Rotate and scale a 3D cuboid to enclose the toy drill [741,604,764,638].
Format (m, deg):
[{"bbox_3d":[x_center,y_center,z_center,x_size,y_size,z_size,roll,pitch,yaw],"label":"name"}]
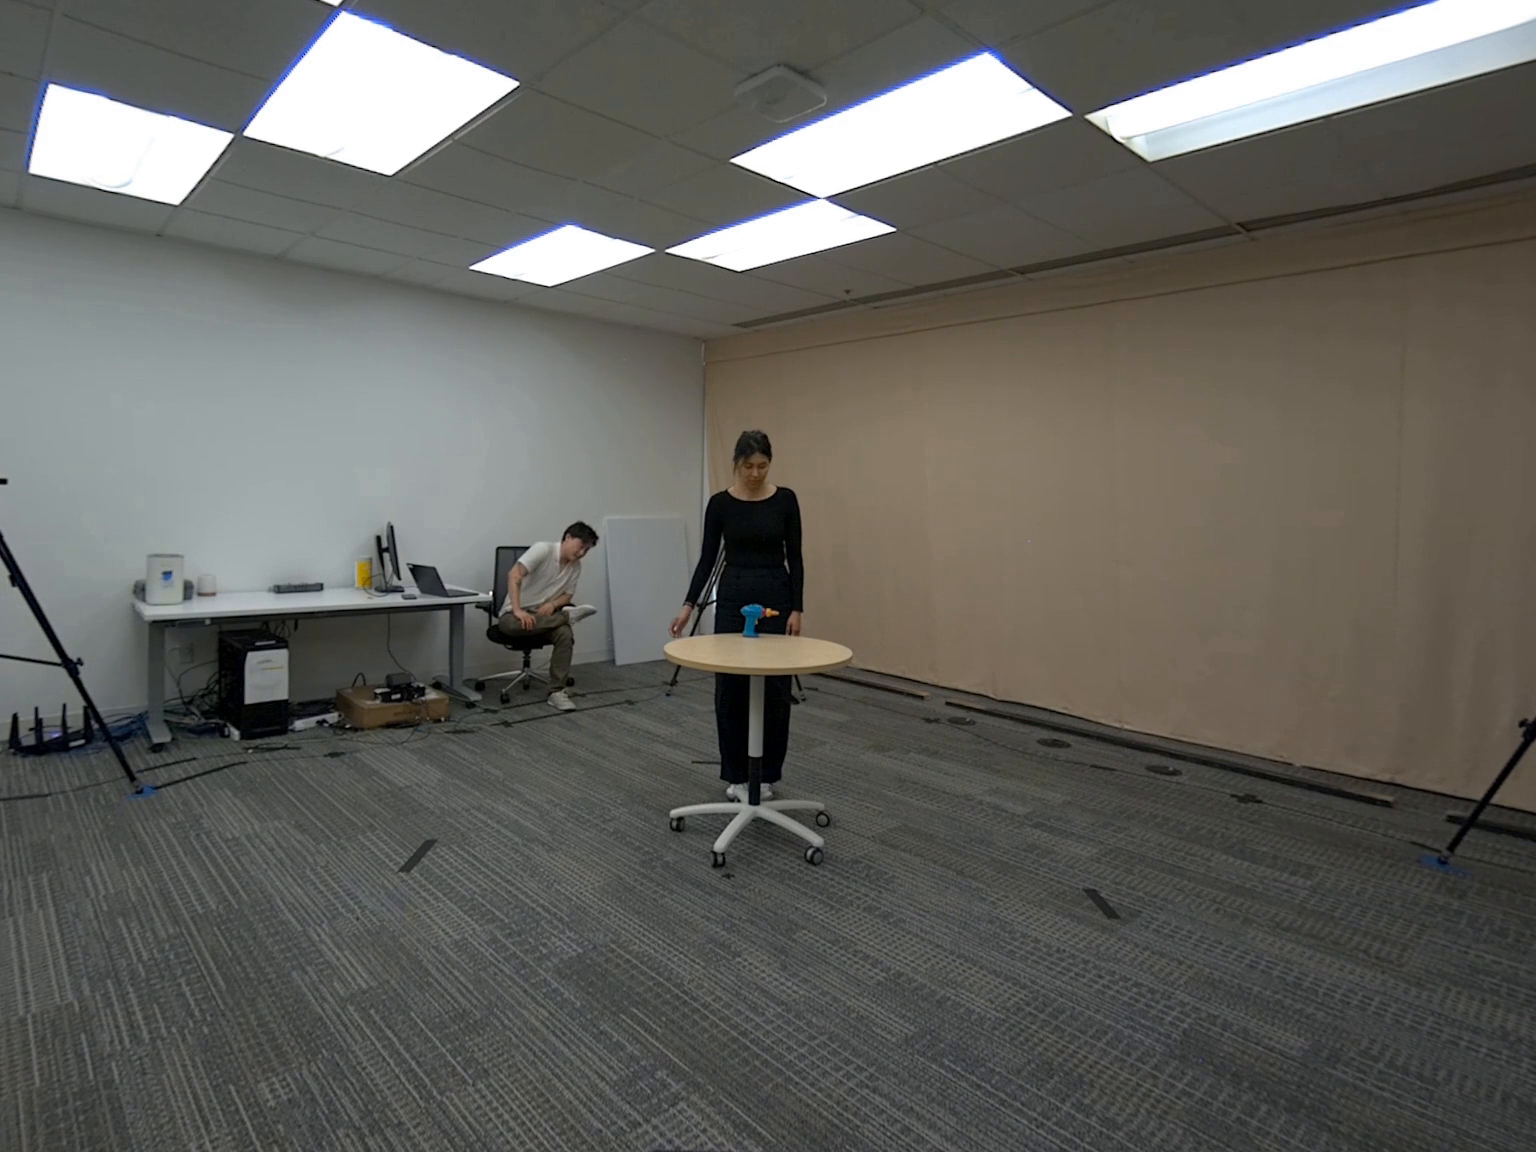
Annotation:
[{"bbox_3d":[-0.053,0.199,3.713,0.170,0.146,0.061,2,3,5],"label":"toy drill"}]
